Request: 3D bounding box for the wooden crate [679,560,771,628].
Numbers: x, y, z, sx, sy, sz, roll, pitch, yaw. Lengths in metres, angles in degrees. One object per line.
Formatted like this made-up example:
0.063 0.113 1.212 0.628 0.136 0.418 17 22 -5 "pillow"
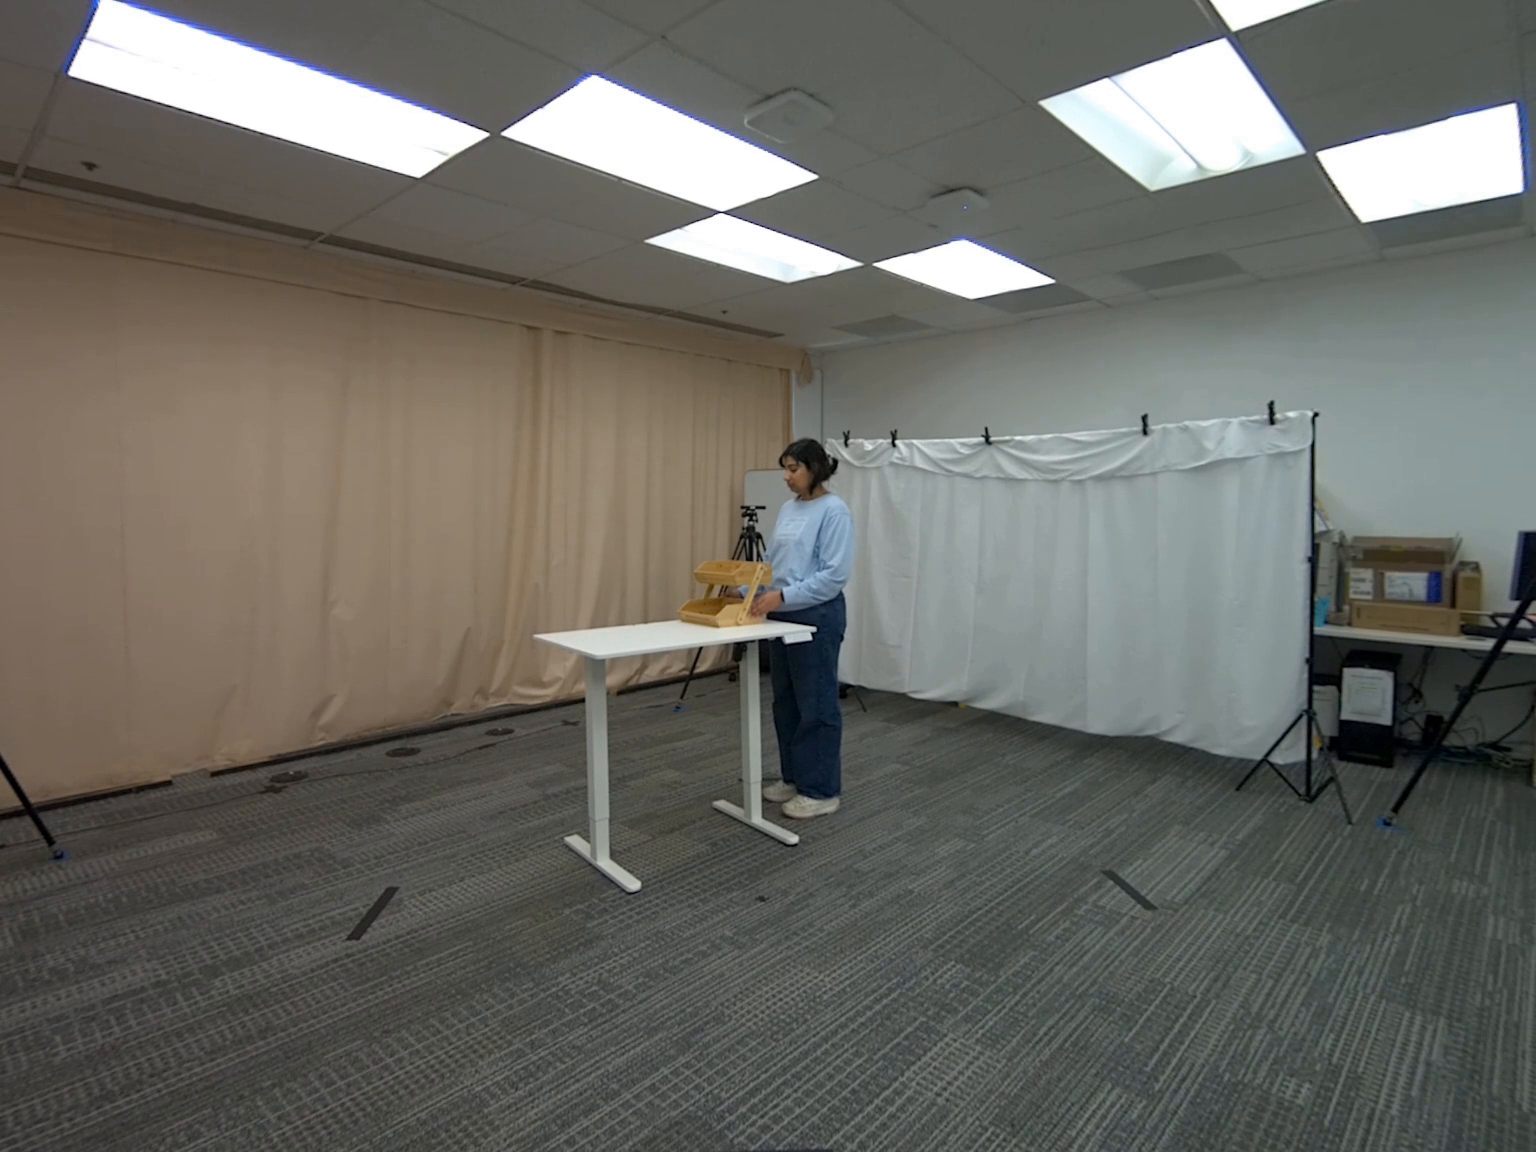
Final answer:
-0.194 0.070 3.715 0.293 0.273 0.335 -2 3 -37 "wooden crate"
